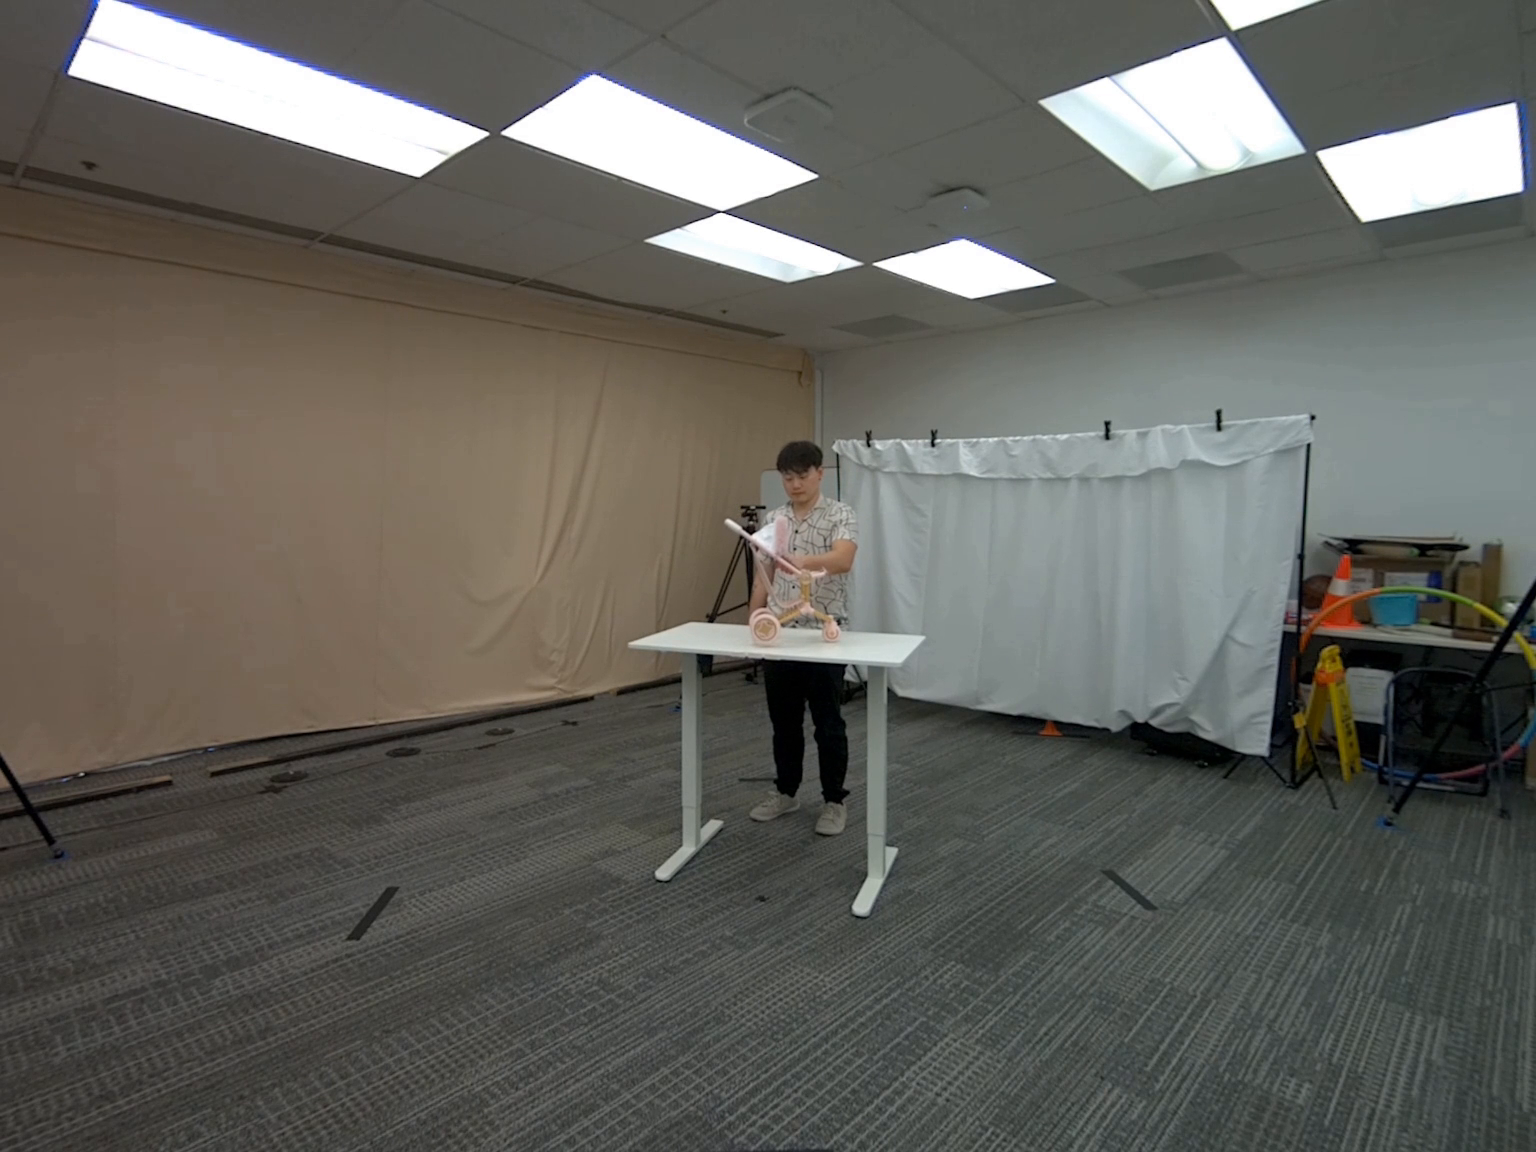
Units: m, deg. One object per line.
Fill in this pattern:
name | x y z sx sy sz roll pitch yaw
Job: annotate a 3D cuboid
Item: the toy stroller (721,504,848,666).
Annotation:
toy stroller | 0.063 0.014 3.140 0.343 0.535 0.279 -12 0 6
